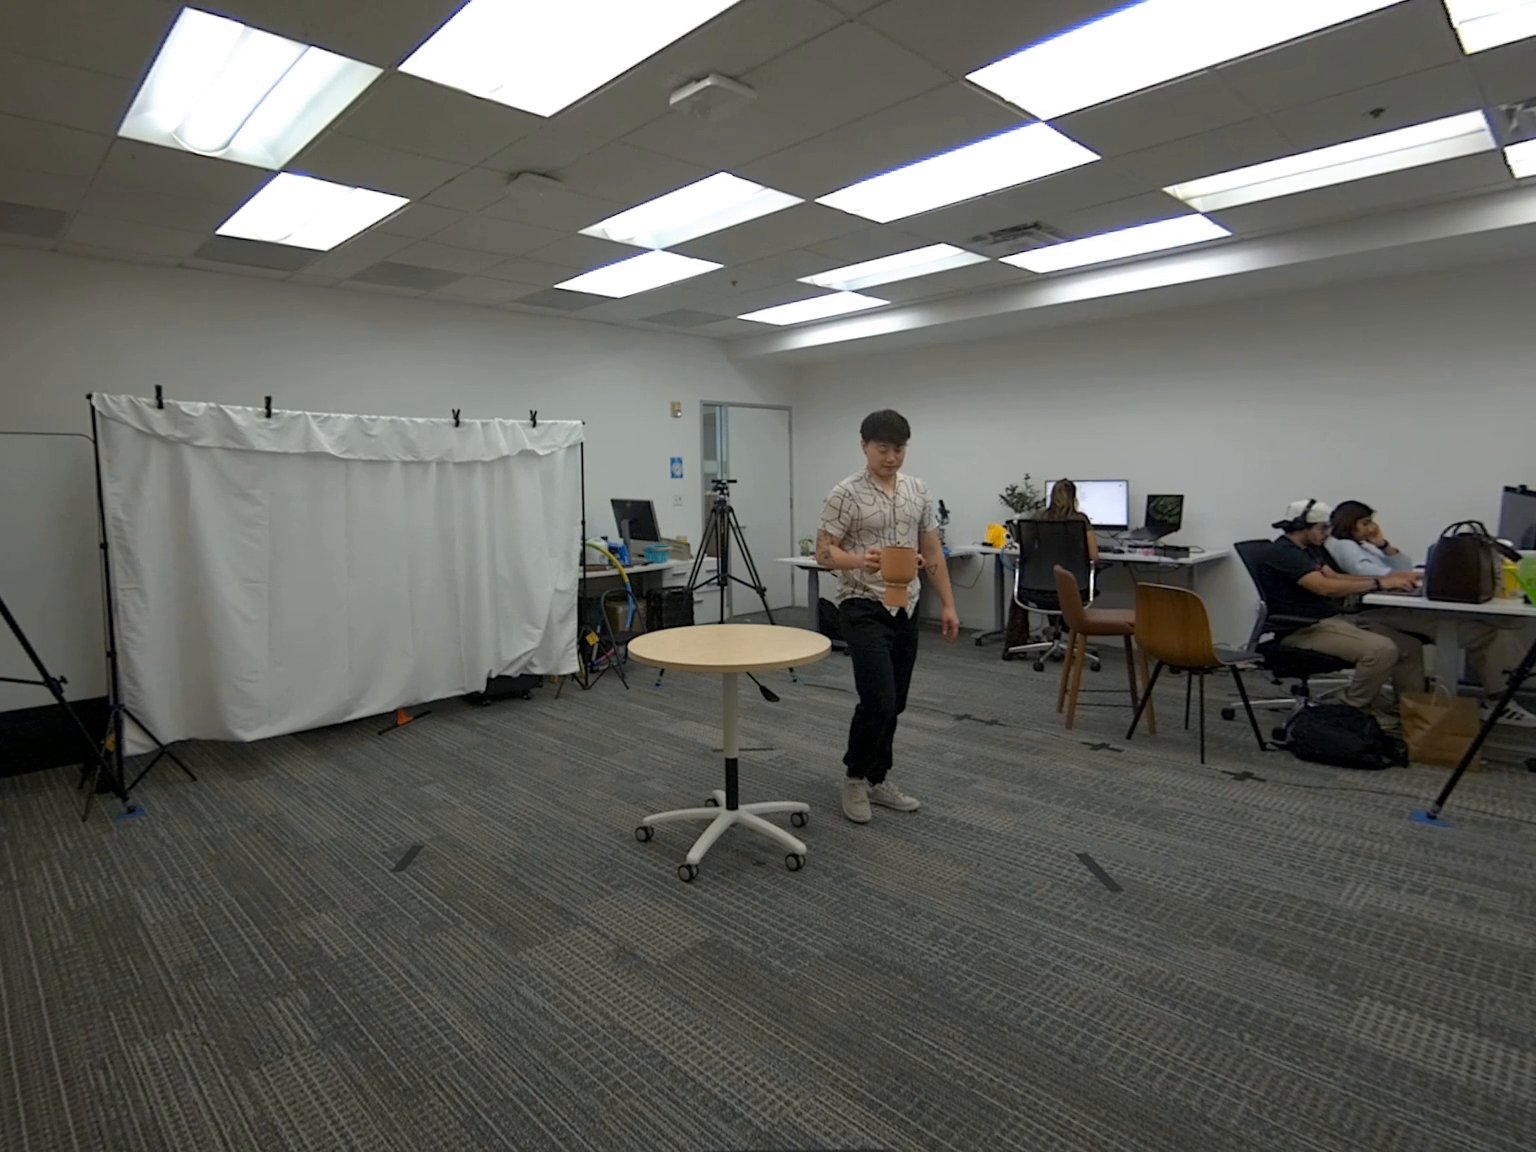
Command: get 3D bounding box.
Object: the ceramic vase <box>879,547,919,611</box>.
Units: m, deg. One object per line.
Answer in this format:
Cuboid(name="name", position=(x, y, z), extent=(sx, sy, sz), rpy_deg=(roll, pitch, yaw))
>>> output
Cuboid(name="ceramic vase", position=(0.495, 0.002, 3.240), extent=(0.132, 0.219, 0.163), rpy_deg=(0, 5, -25))
